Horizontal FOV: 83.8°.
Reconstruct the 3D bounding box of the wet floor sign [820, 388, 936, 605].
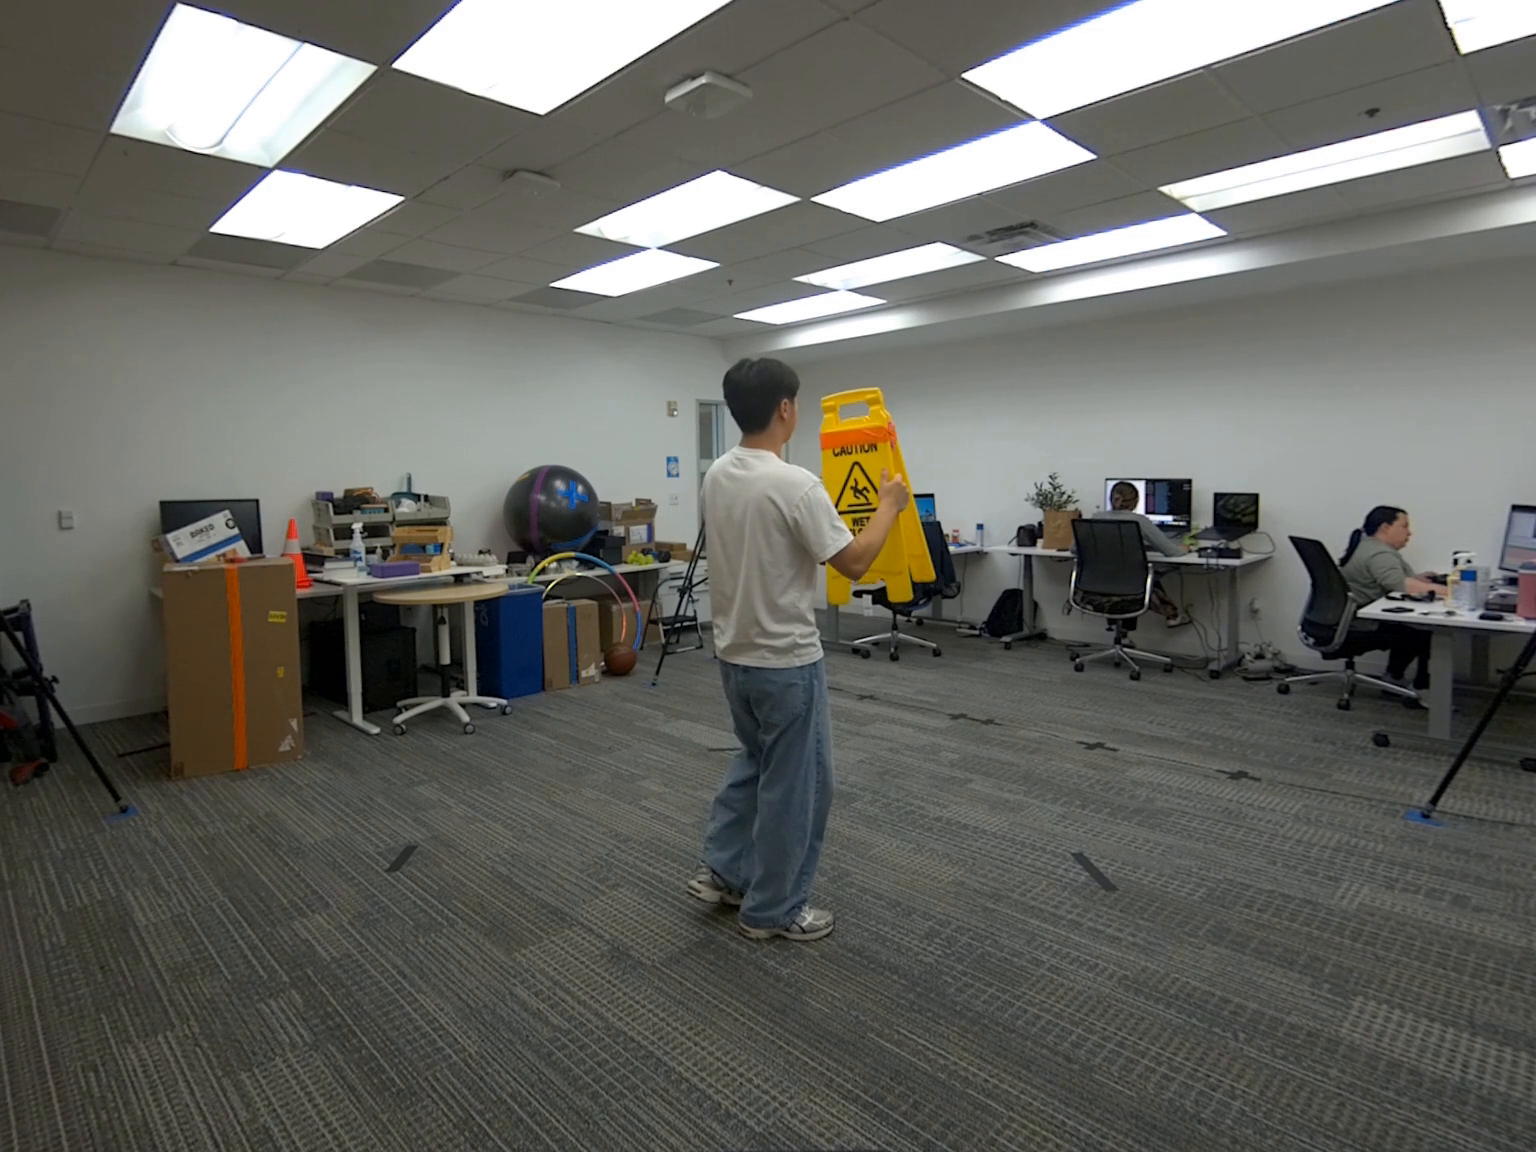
[{"bbox_3d":[0.312,-0.262,2.703,0.289,0.640,0.286,-5,10,31],"label":"wet floor sign"}]
